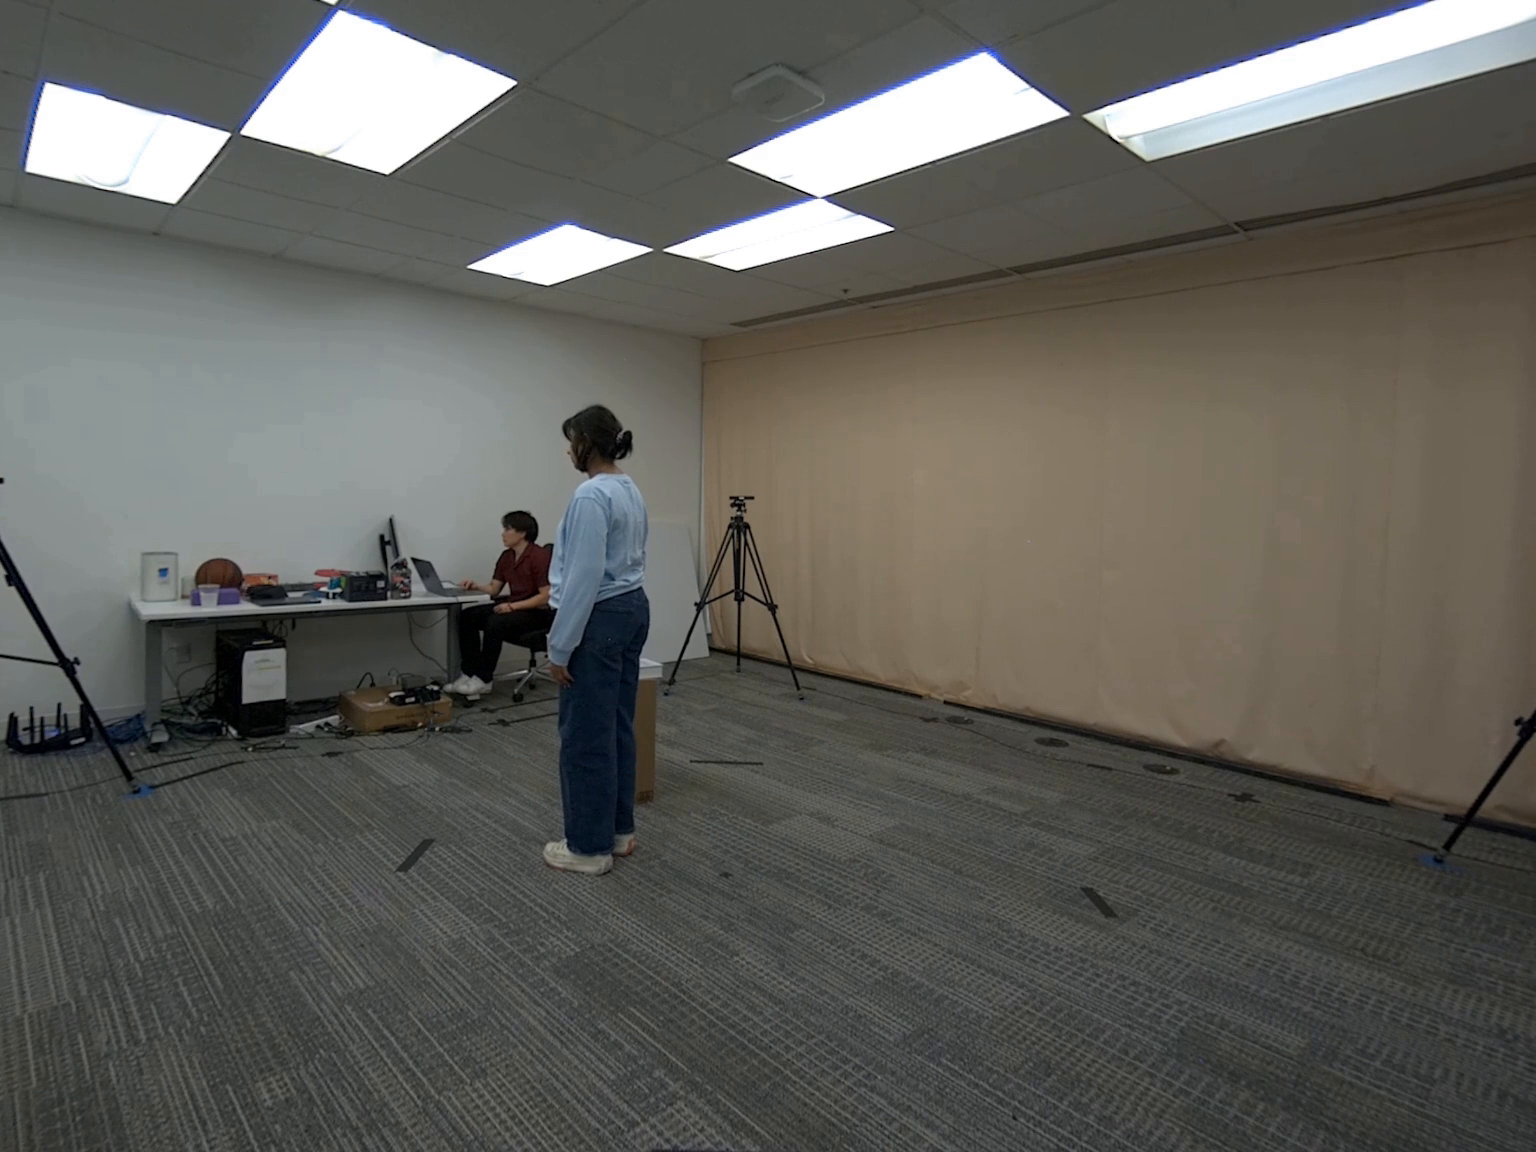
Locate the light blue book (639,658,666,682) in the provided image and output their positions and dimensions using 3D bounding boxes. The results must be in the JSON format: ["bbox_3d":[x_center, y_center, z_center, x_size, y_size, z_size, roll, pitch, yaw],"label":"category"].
[{"bbox_3d":[-0.636,0.430,3.877,0.255,0.059,0.196,-1,6,-37],"label":"light blue book"}]
